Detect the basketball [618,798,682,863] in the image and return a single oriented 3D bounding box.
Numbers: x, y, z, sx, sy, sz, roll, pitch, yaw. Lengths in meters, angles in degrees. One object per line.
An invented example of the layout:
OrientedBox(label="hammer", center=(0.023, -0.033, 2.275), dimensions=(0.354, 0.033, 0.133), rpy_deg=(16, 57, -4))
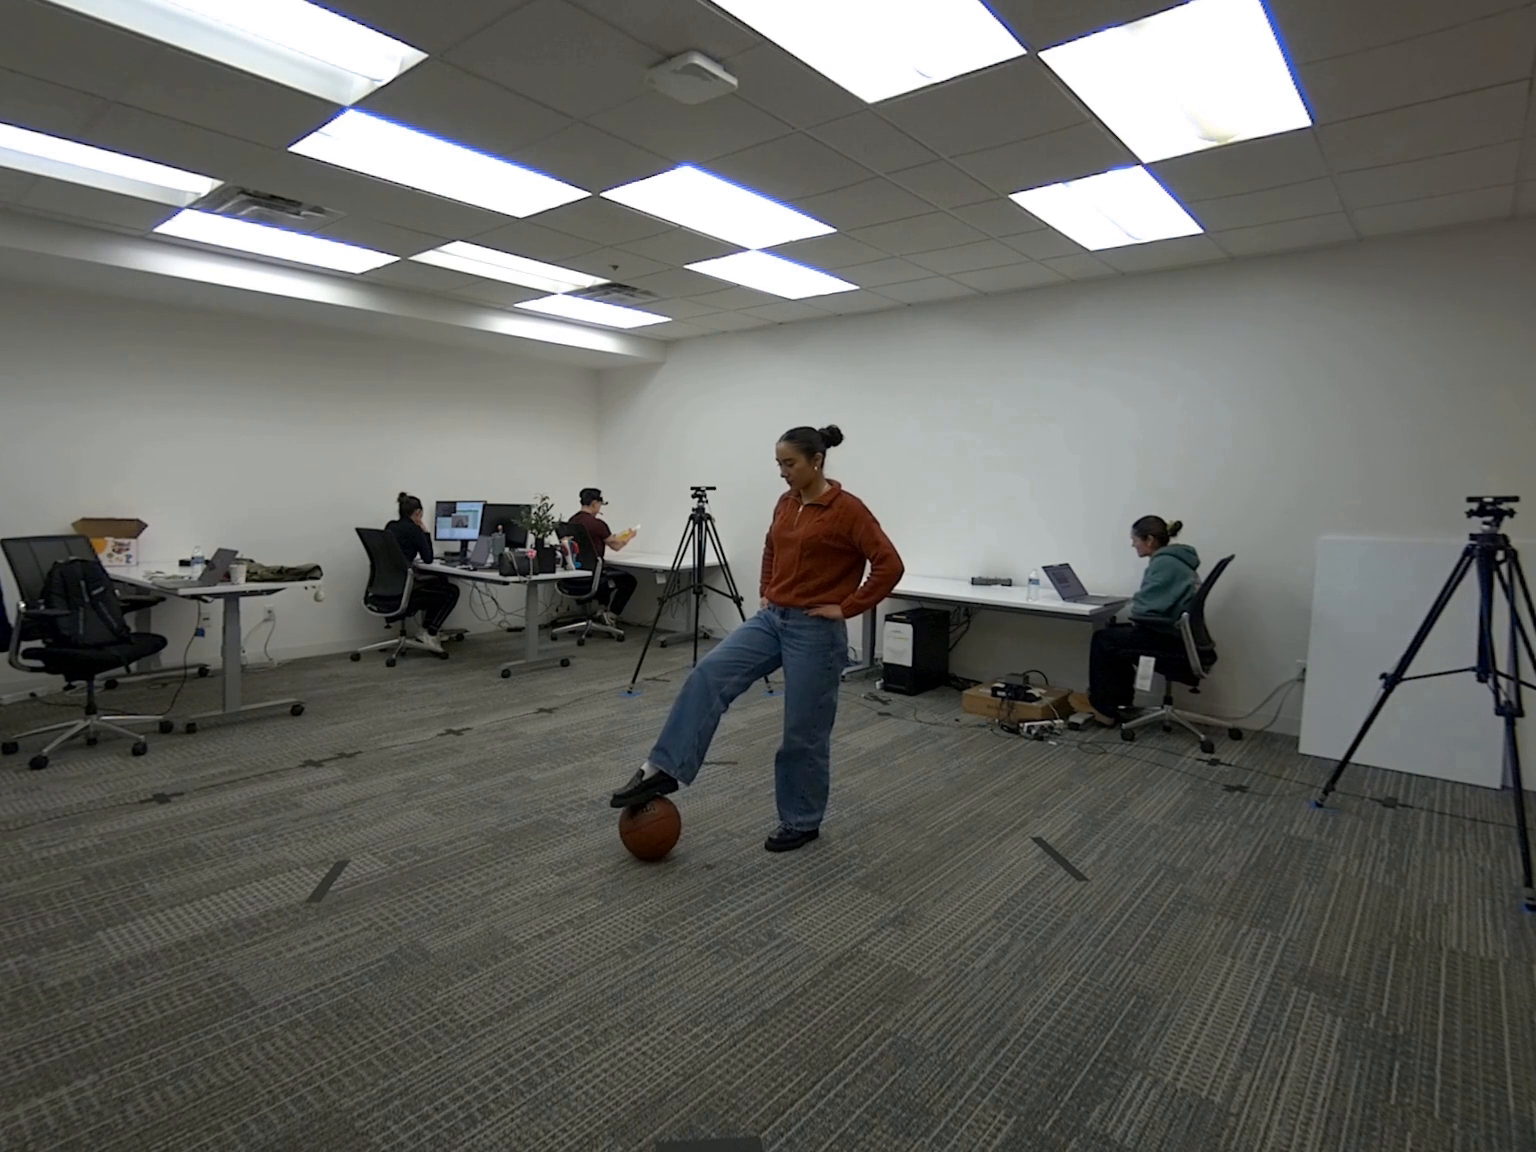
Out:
OrientedBox(label="basketball", center=(-0.452, 0.934, 3.198), dimensions=(0.235, 0.235, 0.237), rpy_deg=(1, 4, -2))
